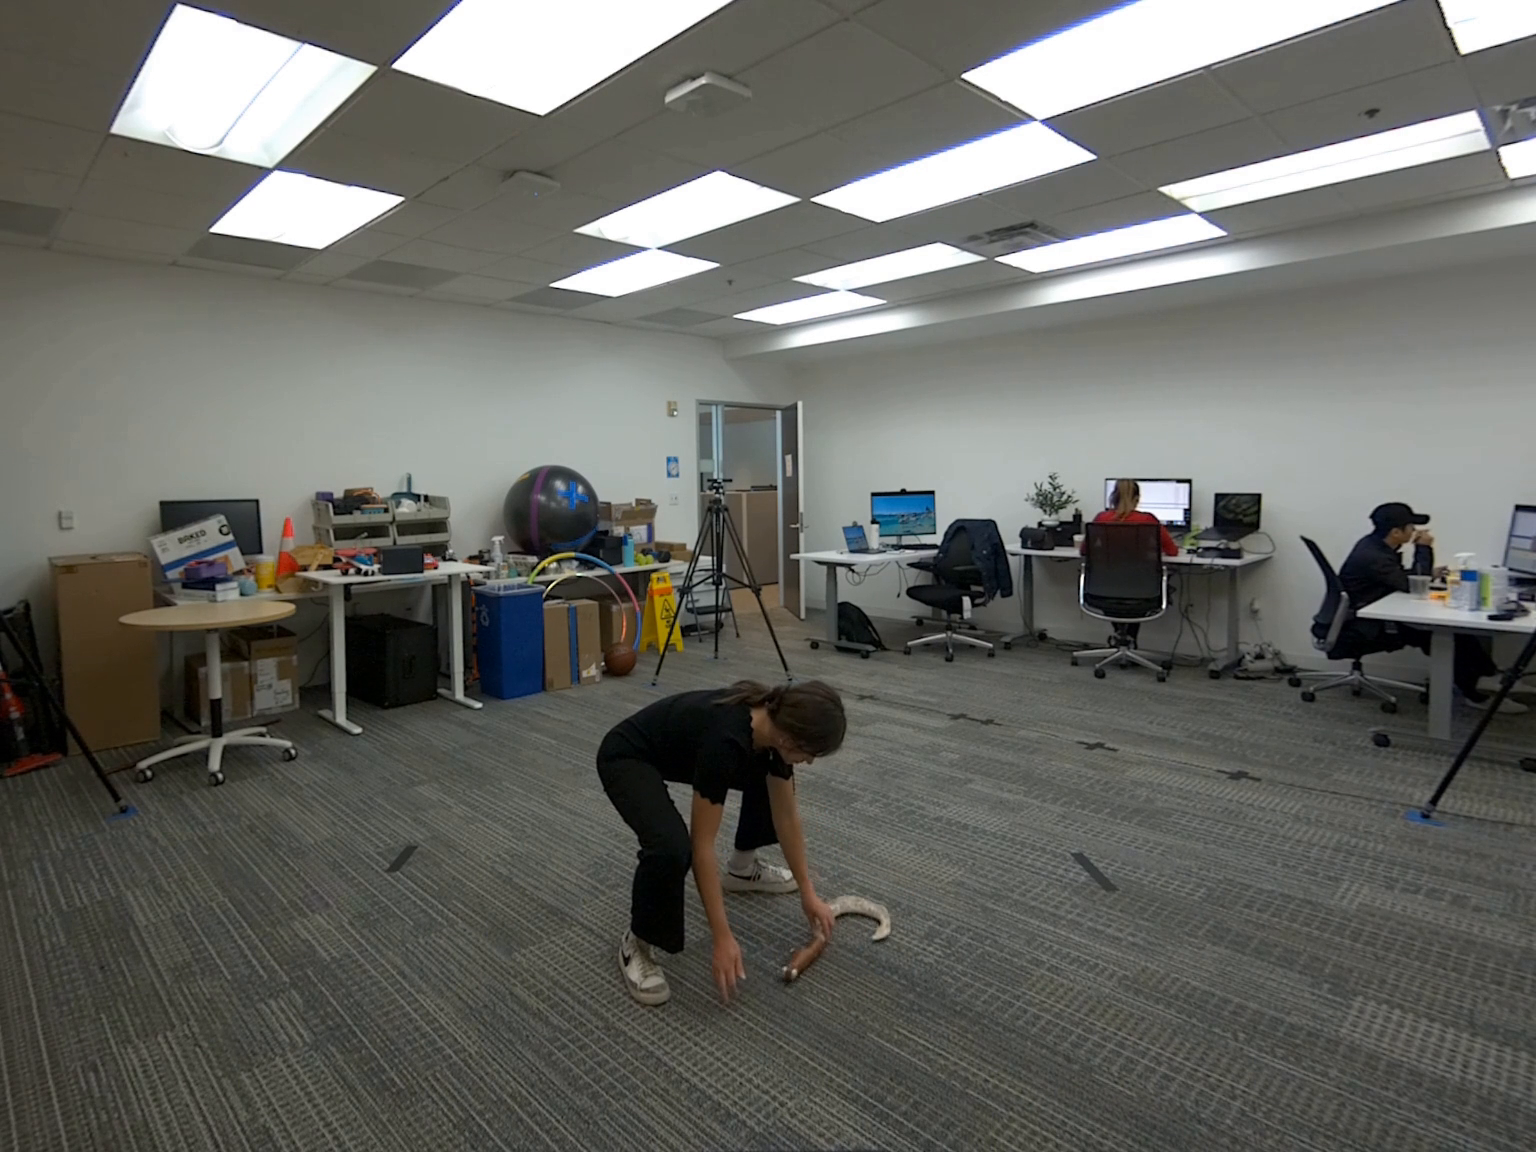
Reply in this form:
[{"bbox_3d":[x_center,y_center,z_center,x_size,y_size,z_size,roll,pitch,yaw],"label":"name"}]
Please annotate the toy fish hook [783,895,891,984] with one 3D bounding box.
[{"bbox_3d":[0.217,1.084,2.547,0.230,0.048,0.496,1,7,29],"label":"toy fish hook"}]
